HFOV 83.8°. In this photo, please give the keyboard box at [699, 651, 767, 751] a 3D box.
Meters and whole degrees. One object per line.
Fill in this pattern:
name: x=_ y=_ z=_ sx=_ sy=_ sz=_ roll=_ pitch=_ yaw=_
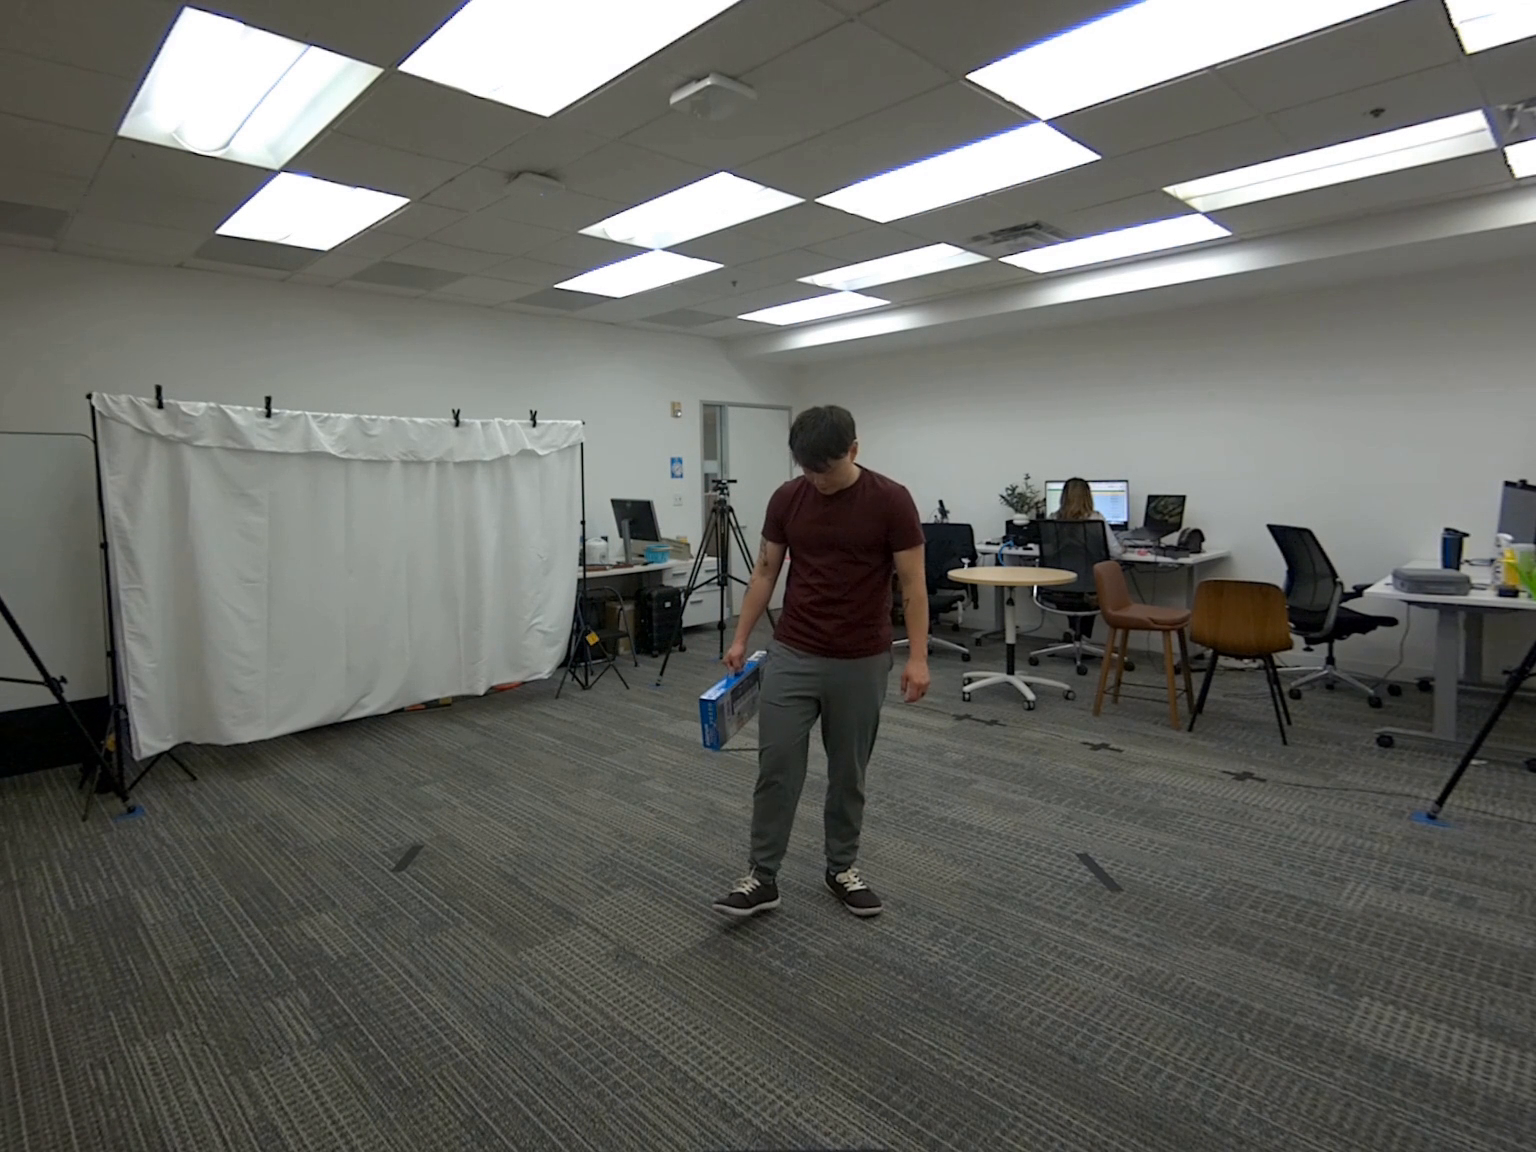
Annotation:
keyboard box: x=-0.095 y=0.408 z=2.866 sx=0.060 sy=0.173 sz=0.433 roll=0 pitch=16 yaw=24
